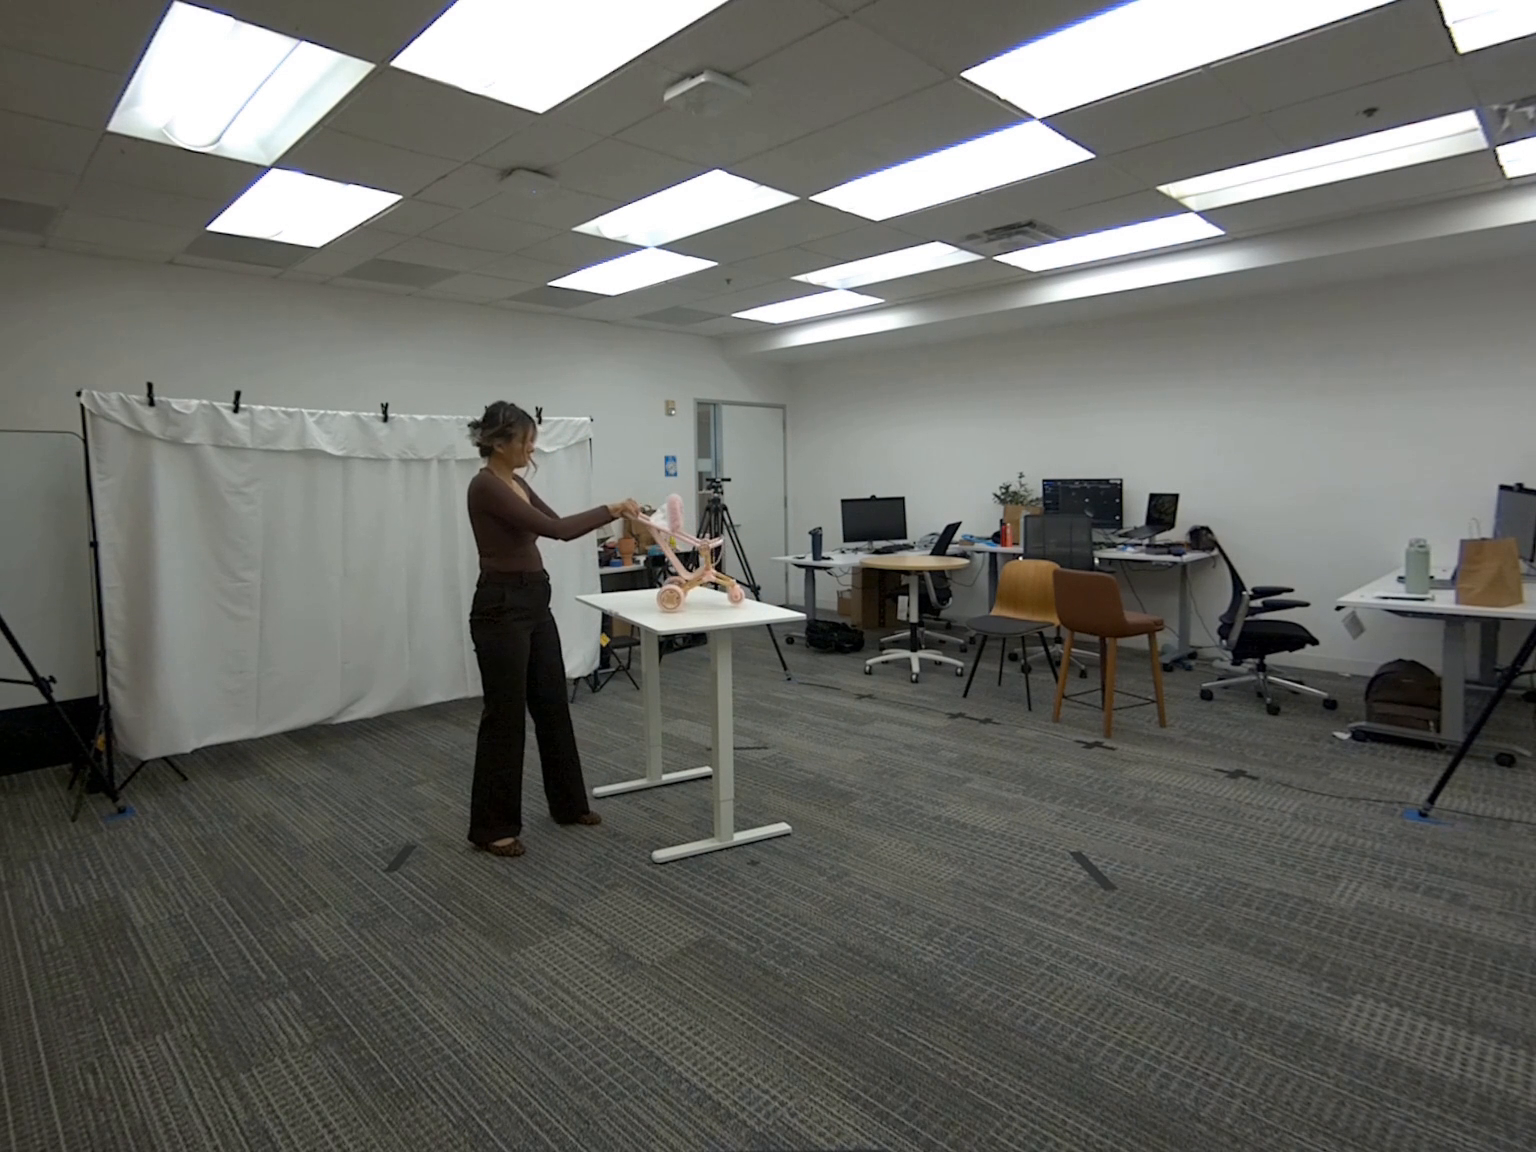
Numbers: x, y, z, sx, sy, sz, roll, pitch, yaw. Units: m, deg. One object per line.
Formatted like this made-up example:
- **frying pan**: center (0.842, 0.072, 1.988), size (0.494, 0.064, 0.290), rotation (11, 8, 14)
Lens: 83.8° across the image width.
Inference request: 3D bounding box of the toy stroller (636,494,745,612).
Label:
- **toy stroller**: center (-0.334, -0.093, 3.415), size (0.342, 0.532, 0.282), rotation (-19, 5, 5)
